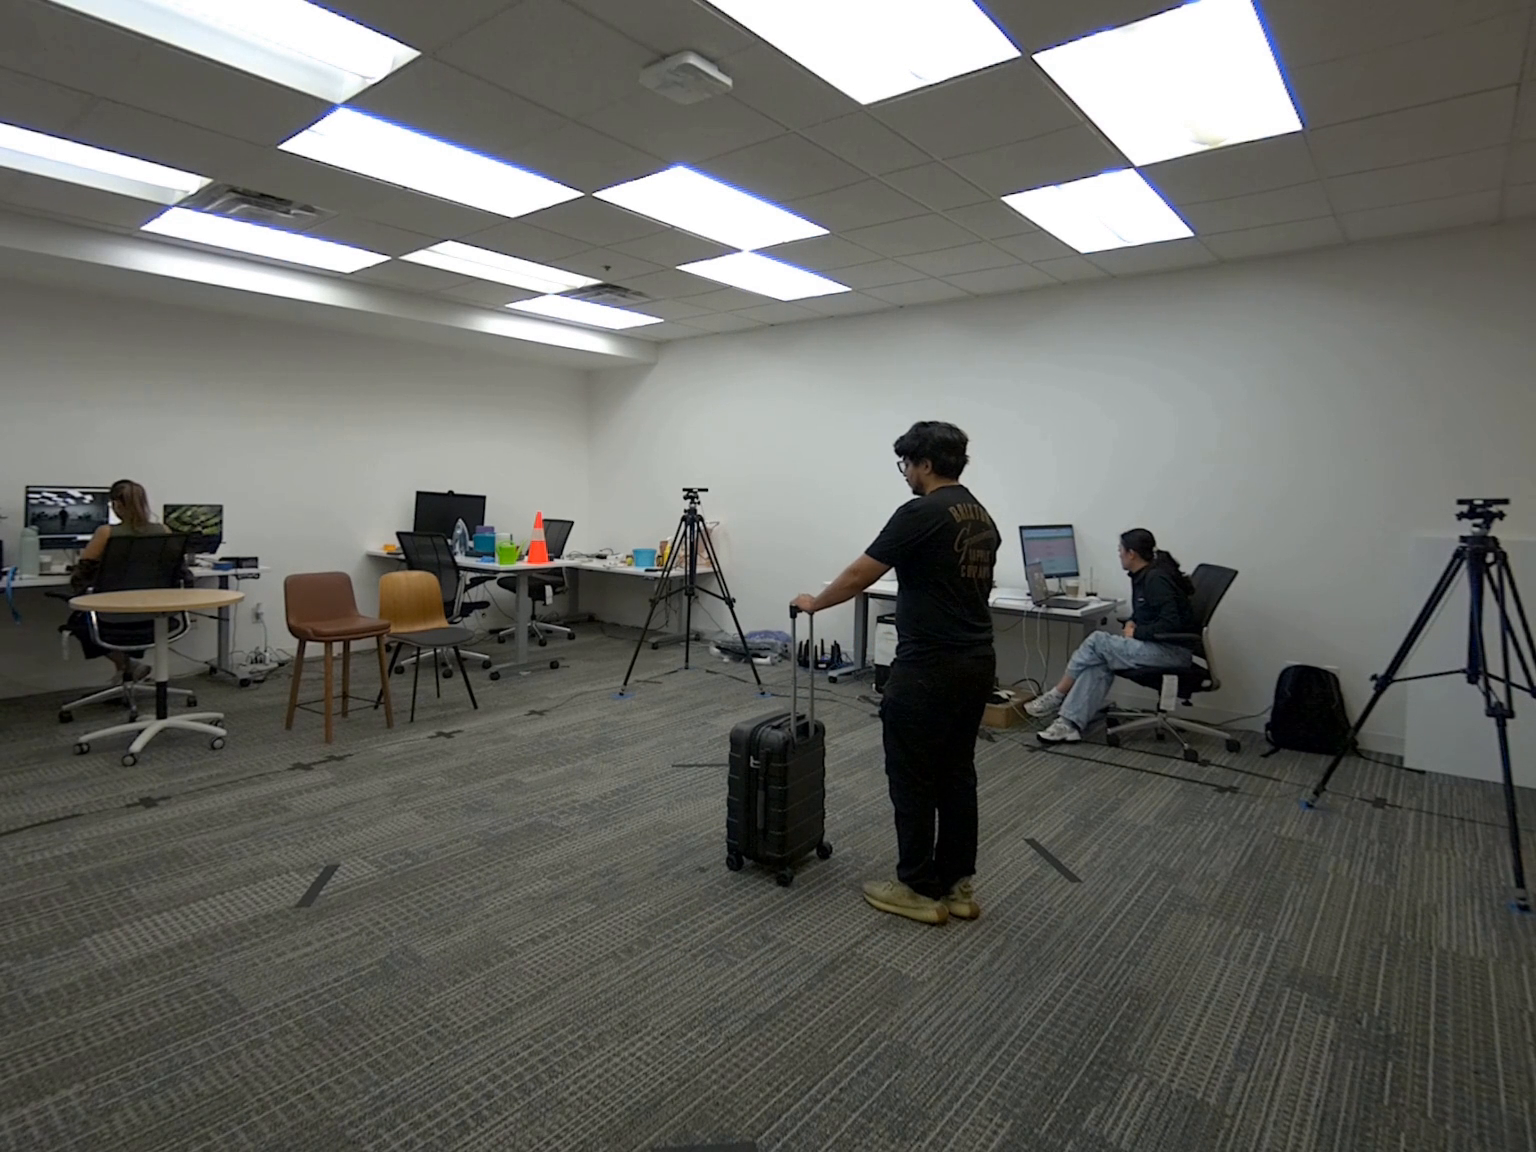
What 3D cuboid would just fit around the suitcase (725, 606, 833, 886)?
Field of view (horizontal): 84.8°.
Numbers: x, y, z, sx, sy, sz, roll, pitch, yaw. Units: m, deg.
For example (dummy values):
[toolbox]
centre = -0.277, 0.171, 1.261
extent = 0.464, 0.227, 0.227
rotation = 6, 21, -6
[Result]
[suitcase]
centre = 0.021, 0.589, 3.175
extent = 0.265, 0.978, 0.373
rotation = -2, 1, 35
